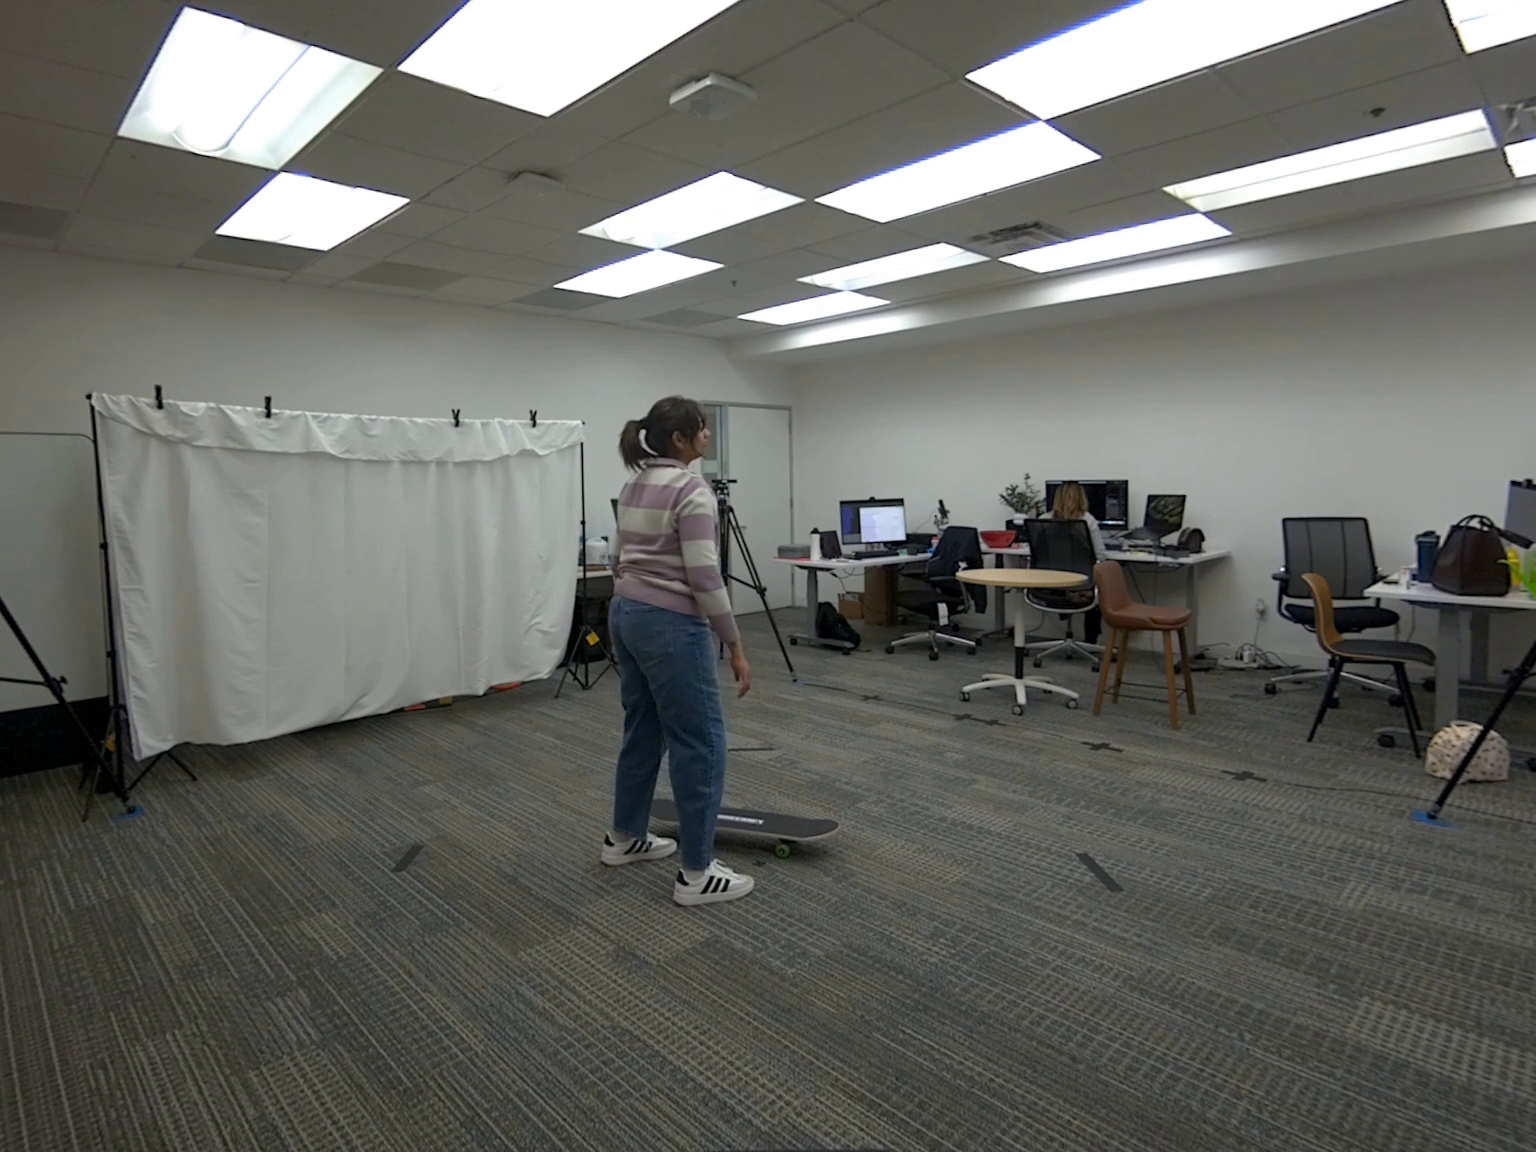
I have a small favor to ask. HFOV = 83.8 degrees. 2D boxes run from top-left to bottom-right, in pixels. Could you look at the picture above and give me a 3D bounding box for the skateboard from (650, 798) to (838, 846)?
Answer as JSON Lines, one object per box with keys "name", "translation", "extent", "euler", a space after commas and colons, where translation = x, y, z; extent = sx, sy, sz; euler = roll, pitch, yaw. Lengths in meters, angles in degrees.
{"name": "skateboard", "translation": [-0.112, 0.969, 3.298], "extent": [0.799, 0.110, 0.191], "euler": [1, 6, 18]}
